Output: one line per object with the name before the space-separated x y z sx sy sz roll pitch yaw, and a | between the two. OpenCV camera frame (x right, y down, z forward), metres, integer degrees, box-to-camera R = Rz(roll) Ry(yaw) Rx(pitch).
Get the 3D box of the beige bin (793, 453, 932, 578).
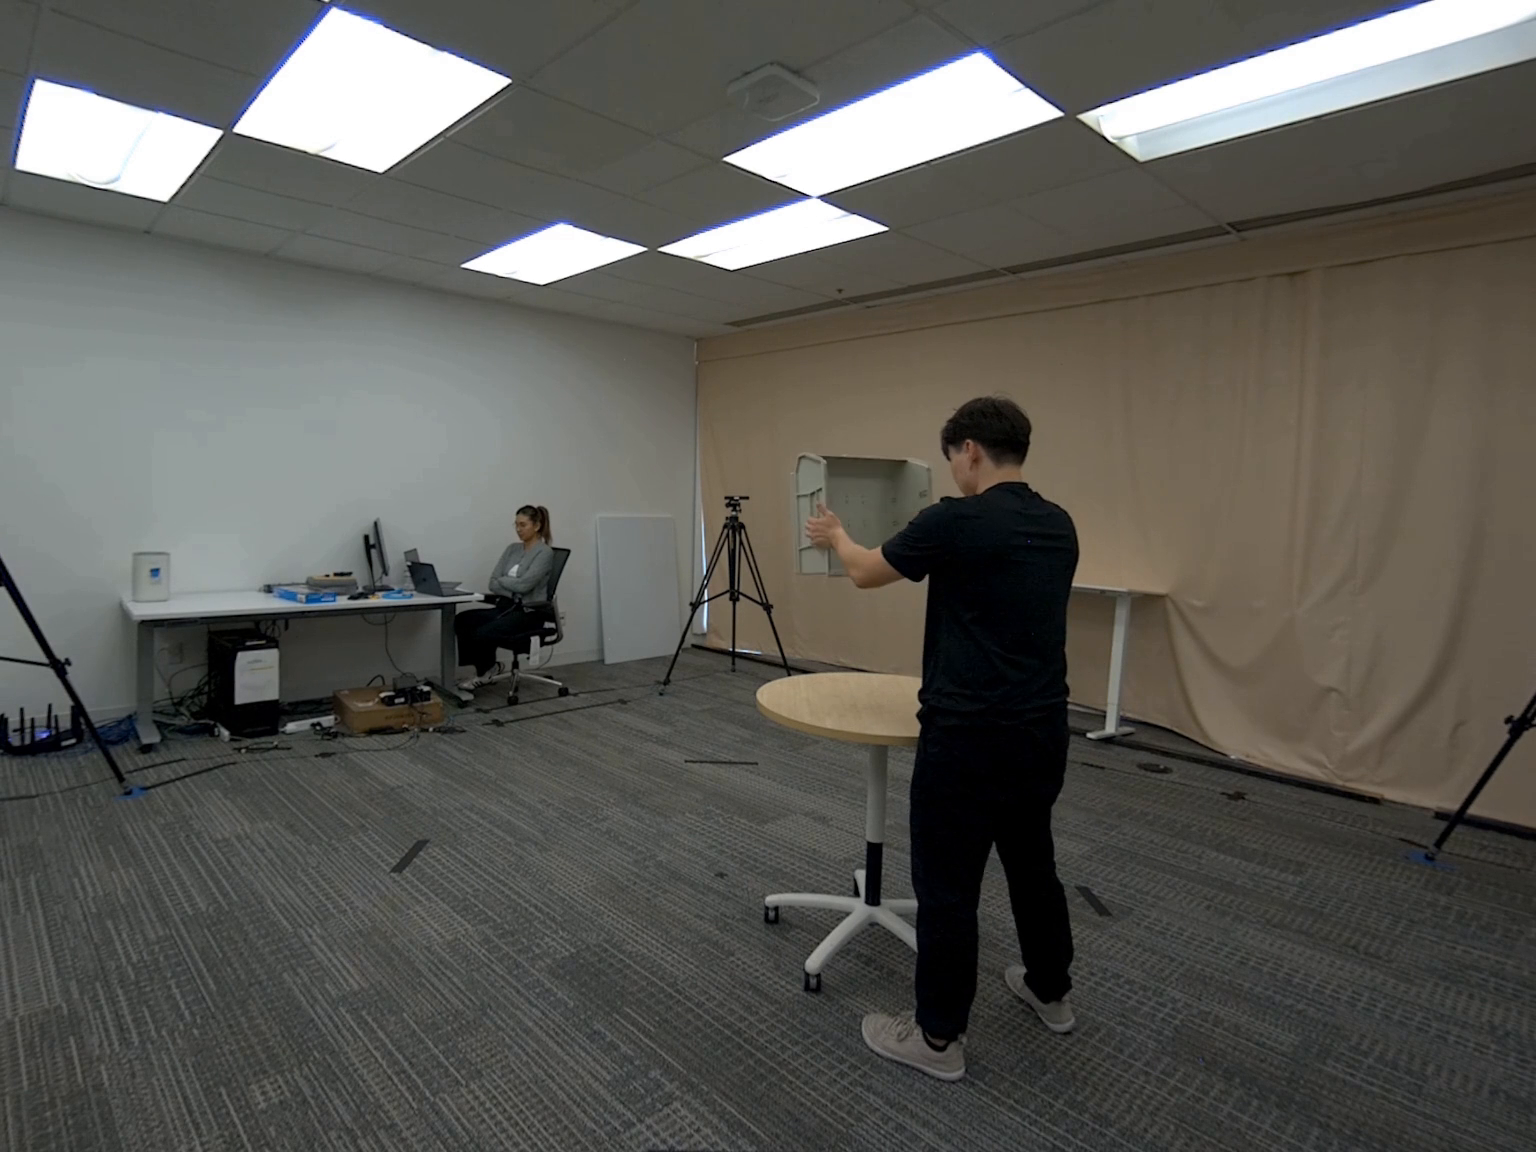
beige bin | 0.294 -0.172 2.611 0.414 0.378 0.192 -2 -1 -31
